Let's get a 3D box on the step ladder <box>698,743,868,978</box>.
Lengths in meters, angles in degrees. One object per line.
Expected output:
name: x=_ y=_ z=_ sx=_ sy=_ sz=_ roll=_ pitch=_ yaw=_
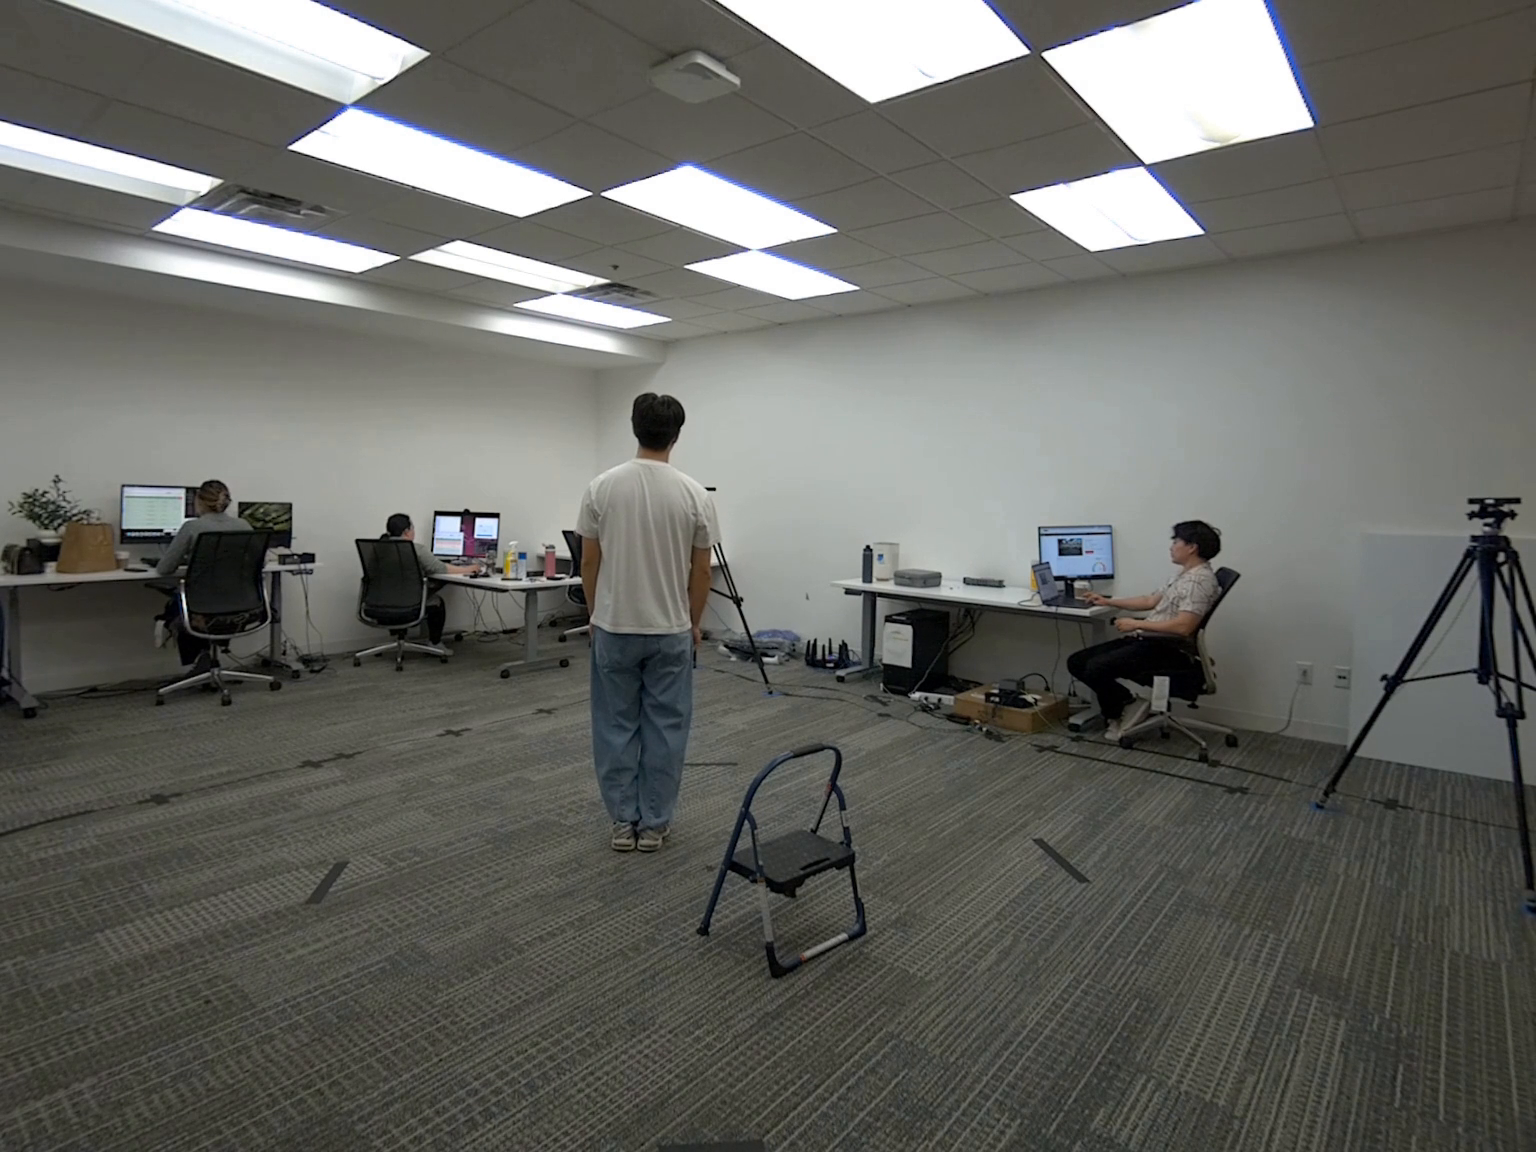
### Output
step ladder: x=0.048 y=0.812 z=2.653 sx=0.417 sy=0.604 sz=0.361 roll=-2 pitch=5 yaw=-44
